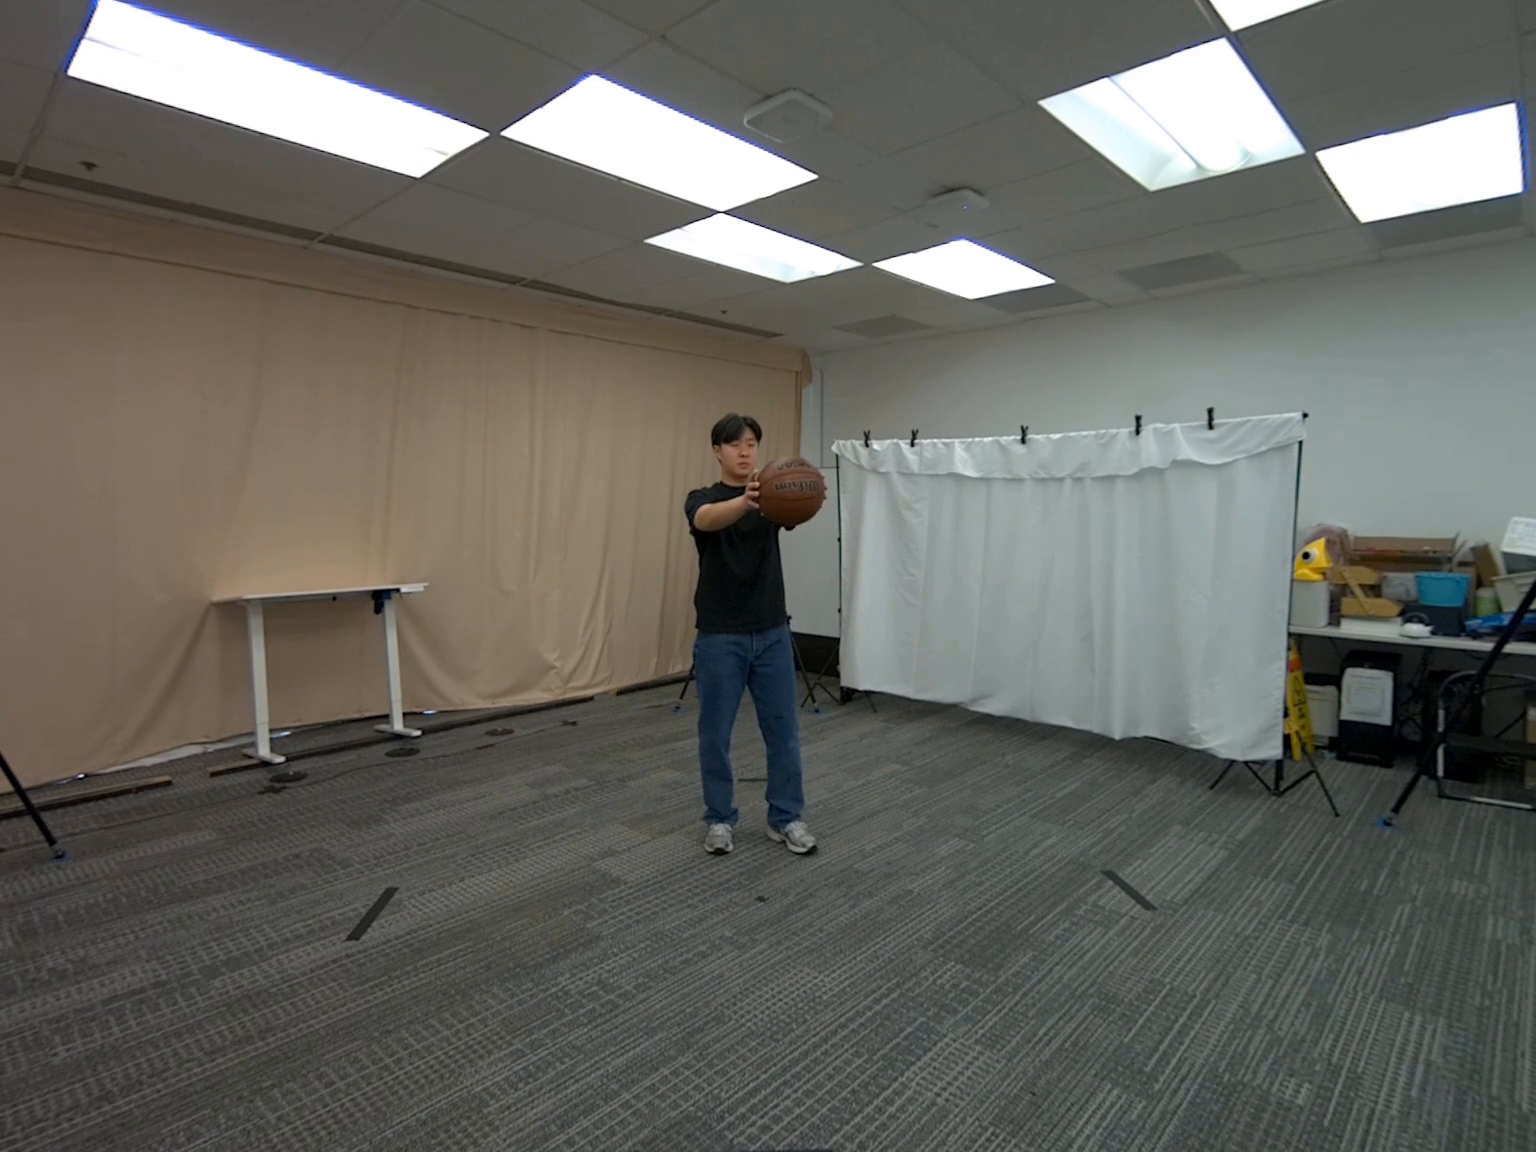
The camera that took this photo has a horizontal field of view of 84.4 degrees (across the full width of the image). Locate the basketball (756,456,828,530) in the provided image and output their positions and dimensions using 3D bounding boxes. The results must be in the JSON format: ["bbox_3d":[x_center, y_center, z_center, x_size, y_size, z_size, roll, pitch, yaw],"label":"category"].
[{"bbox_3d":[0.078,-0.288,2.862,0.236,0.235,0.237,0,4,-2],"label":"basketball"}]
